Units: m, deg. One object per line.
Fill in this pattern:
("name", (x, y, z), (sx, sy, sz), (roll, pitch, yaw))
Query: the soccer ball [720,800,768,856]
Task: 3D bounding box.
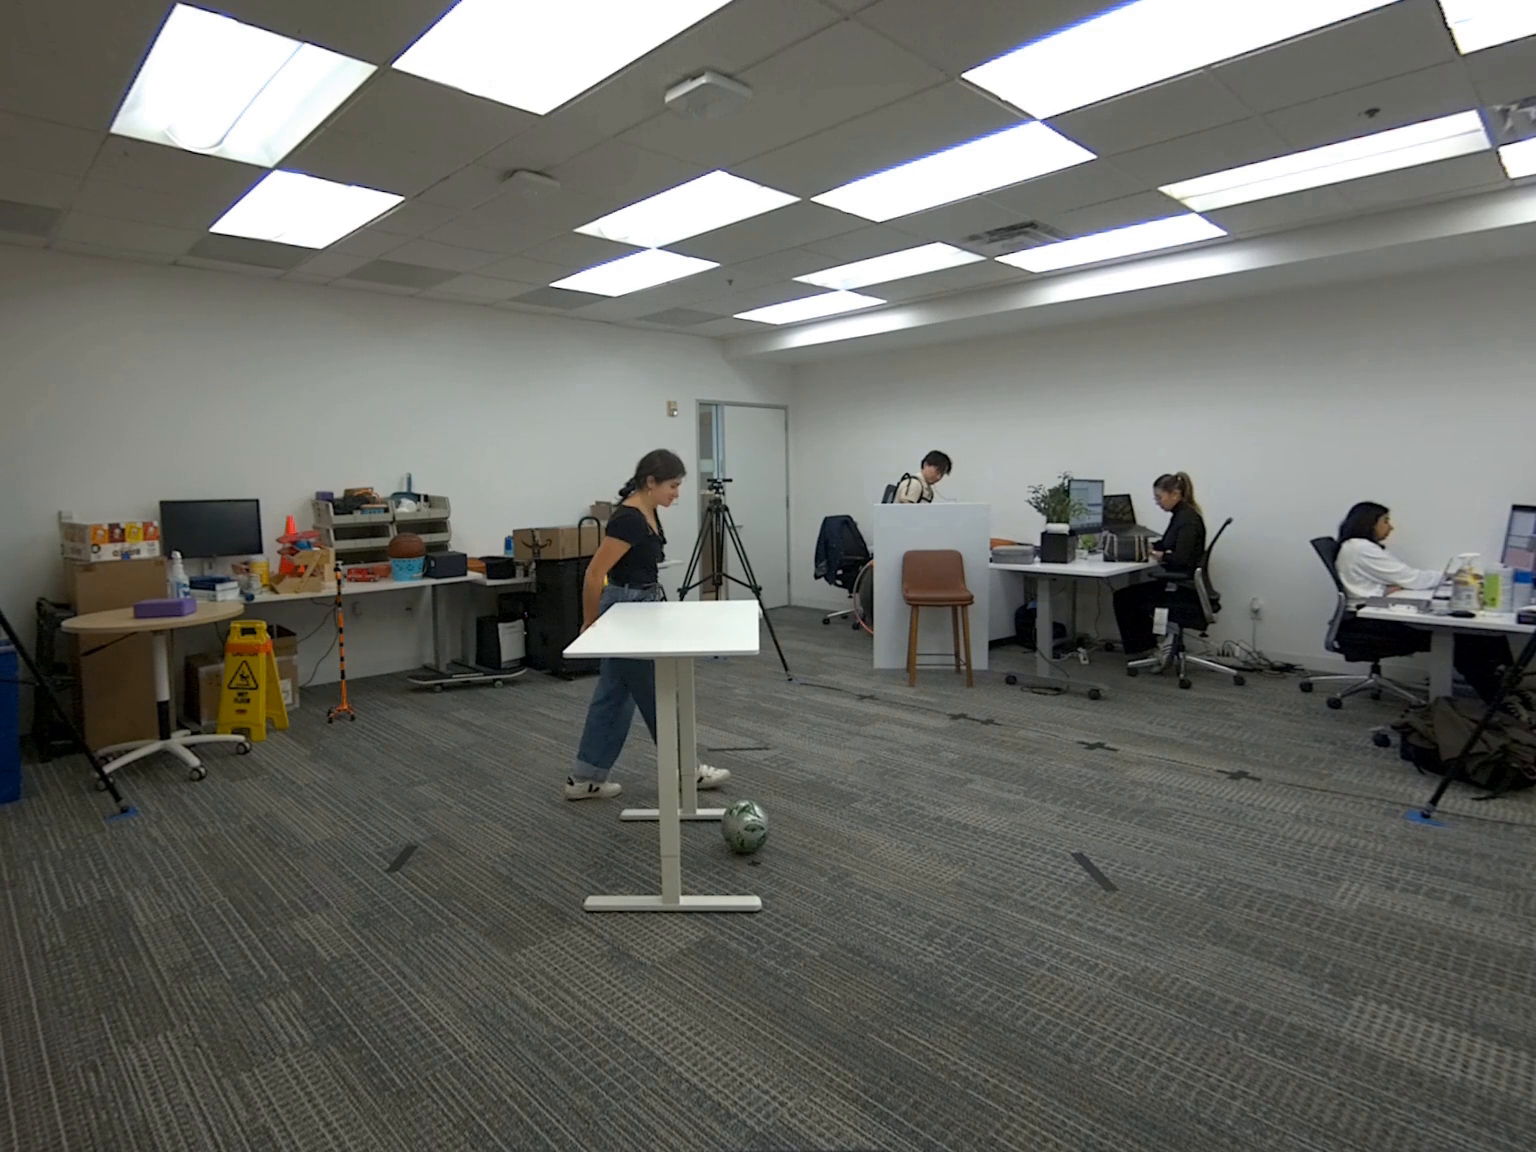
("soccer ball", (-0.079, 0.939, 3.214), (0.187, 0.187, 0.188), (-1, 5, -2))
